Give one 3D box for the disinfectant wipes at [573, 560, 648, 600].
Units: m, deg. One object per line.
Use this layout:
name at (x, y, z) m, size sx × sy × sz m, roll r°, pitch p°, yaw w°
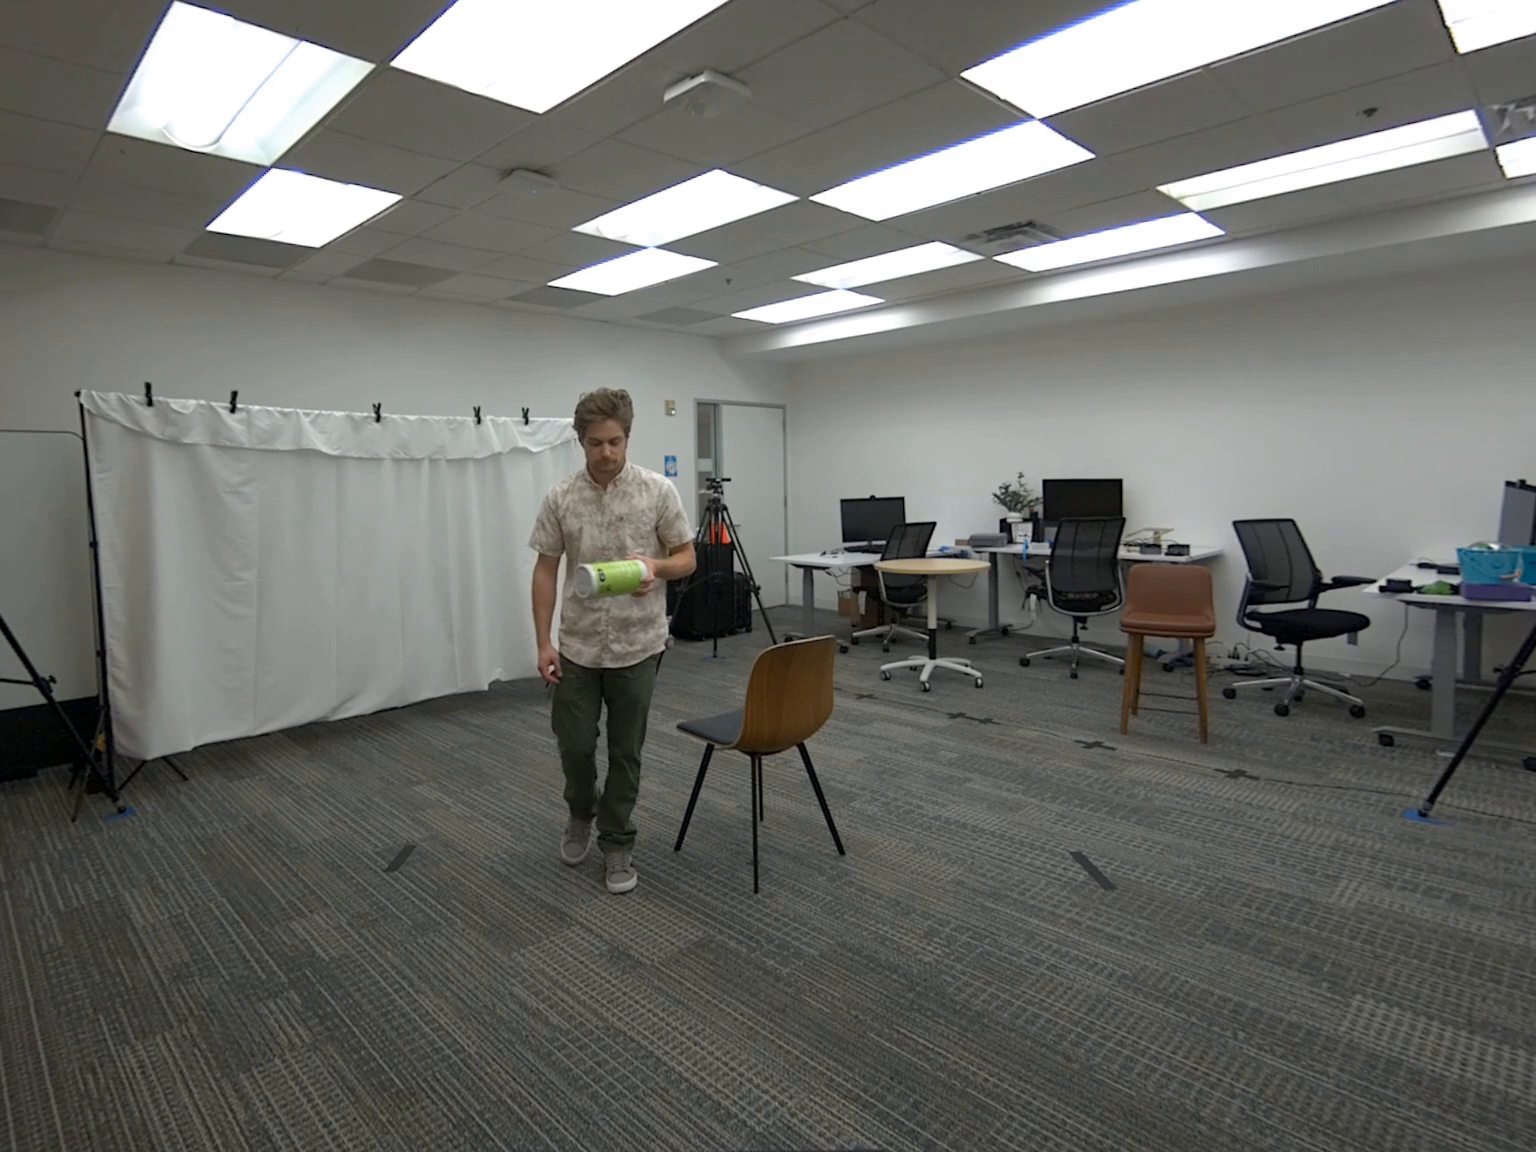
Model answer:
disinfectant wipes at (-0.488, 0.012, 2.643) m, size 0.211 × 0.117 × 0.121 m, roll -5°, pitch 6°, yaw -44°
